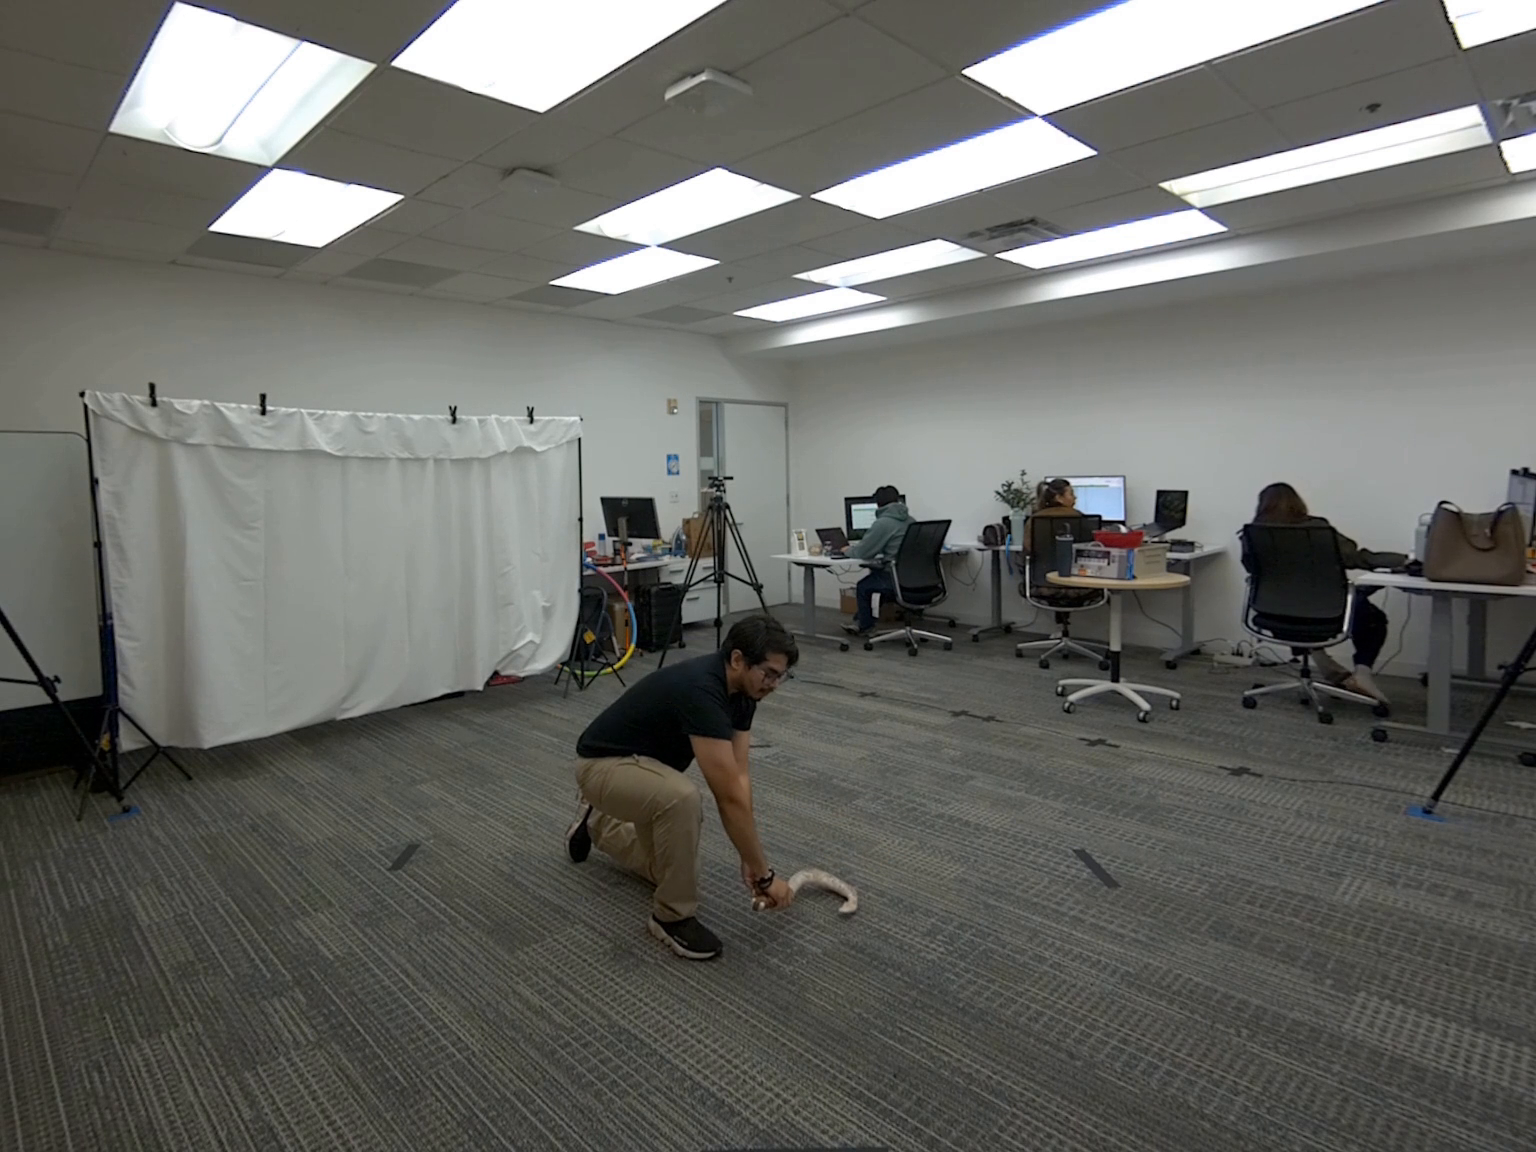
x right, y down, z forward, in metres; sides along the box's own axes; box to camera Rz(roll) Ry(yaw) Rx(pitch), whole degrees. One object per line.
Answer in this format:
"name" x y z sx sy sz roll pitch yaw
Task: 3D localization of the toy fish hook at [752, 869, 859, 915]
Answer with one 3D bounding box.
"toy fish hook" 0.124 1.005 2.663 0.232 0.048 0.491 14 2 33
